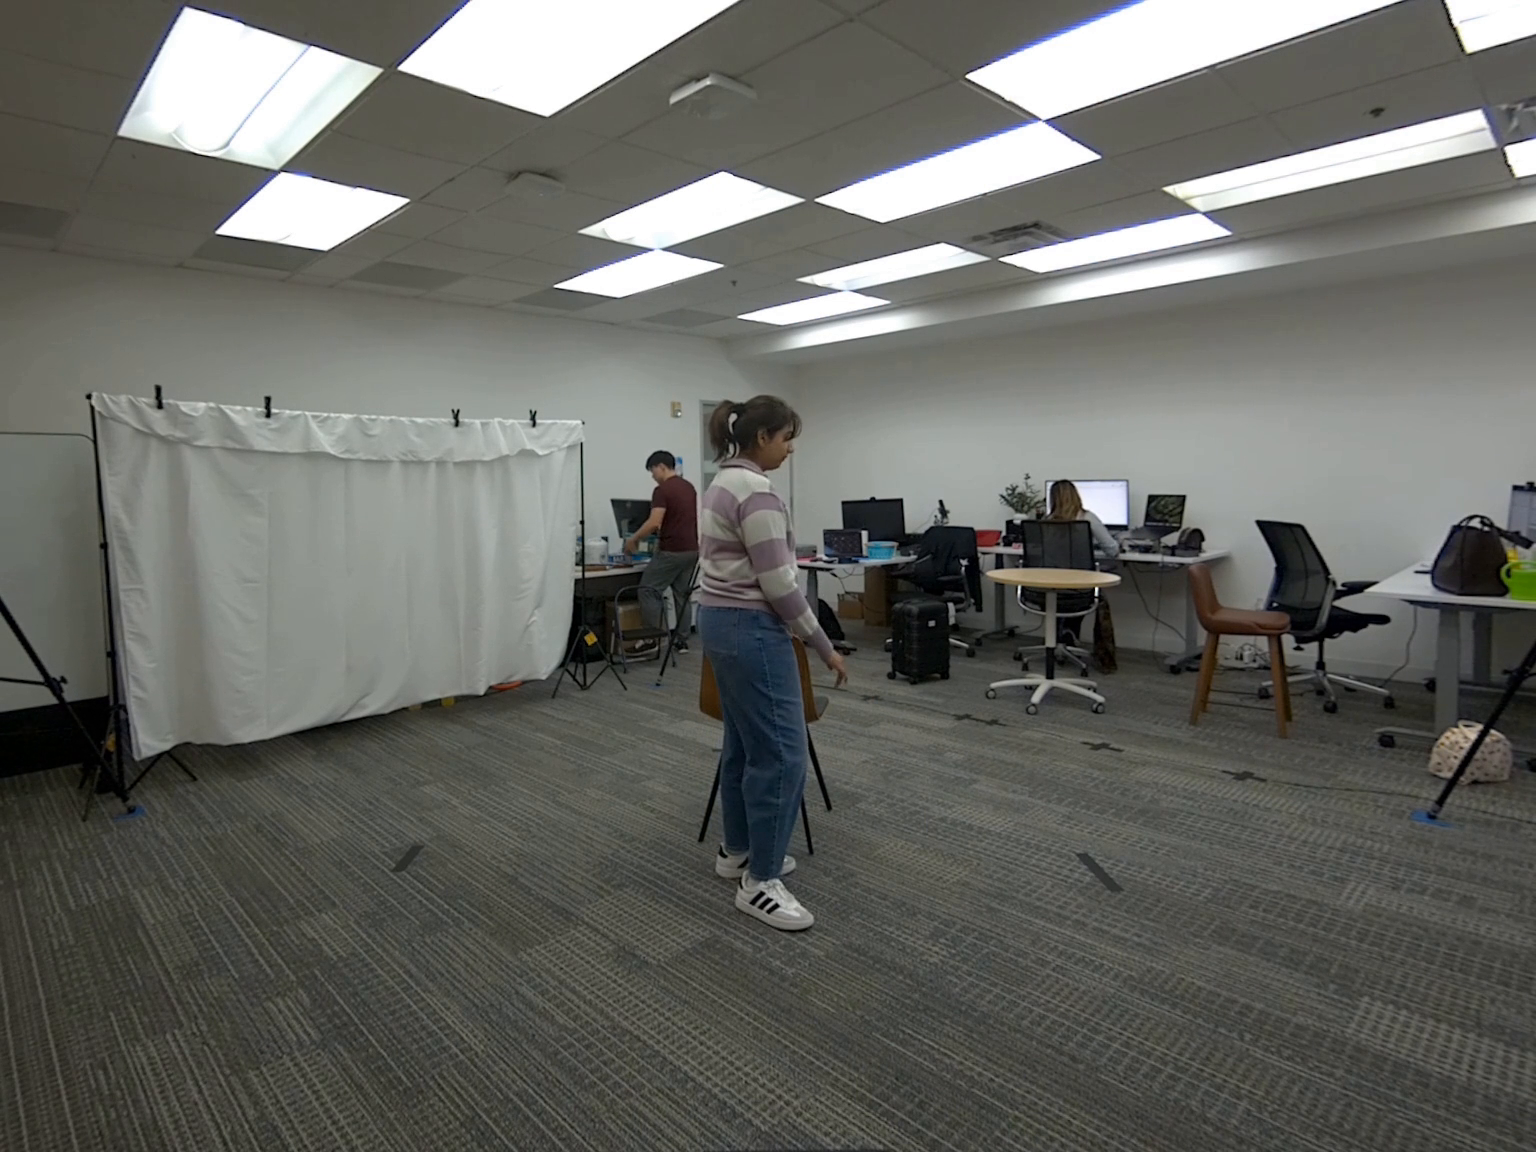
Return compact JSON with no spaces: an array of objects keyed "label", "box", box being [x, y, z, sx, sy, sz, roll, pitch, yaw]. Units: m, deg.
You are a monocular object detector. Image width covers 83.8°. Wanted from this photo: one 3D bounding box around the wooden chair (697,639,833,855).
[{"label":"wooden chair","box":[0.000,0.582,3.432,0.485,0.871,0.519,0,8,15]}]
